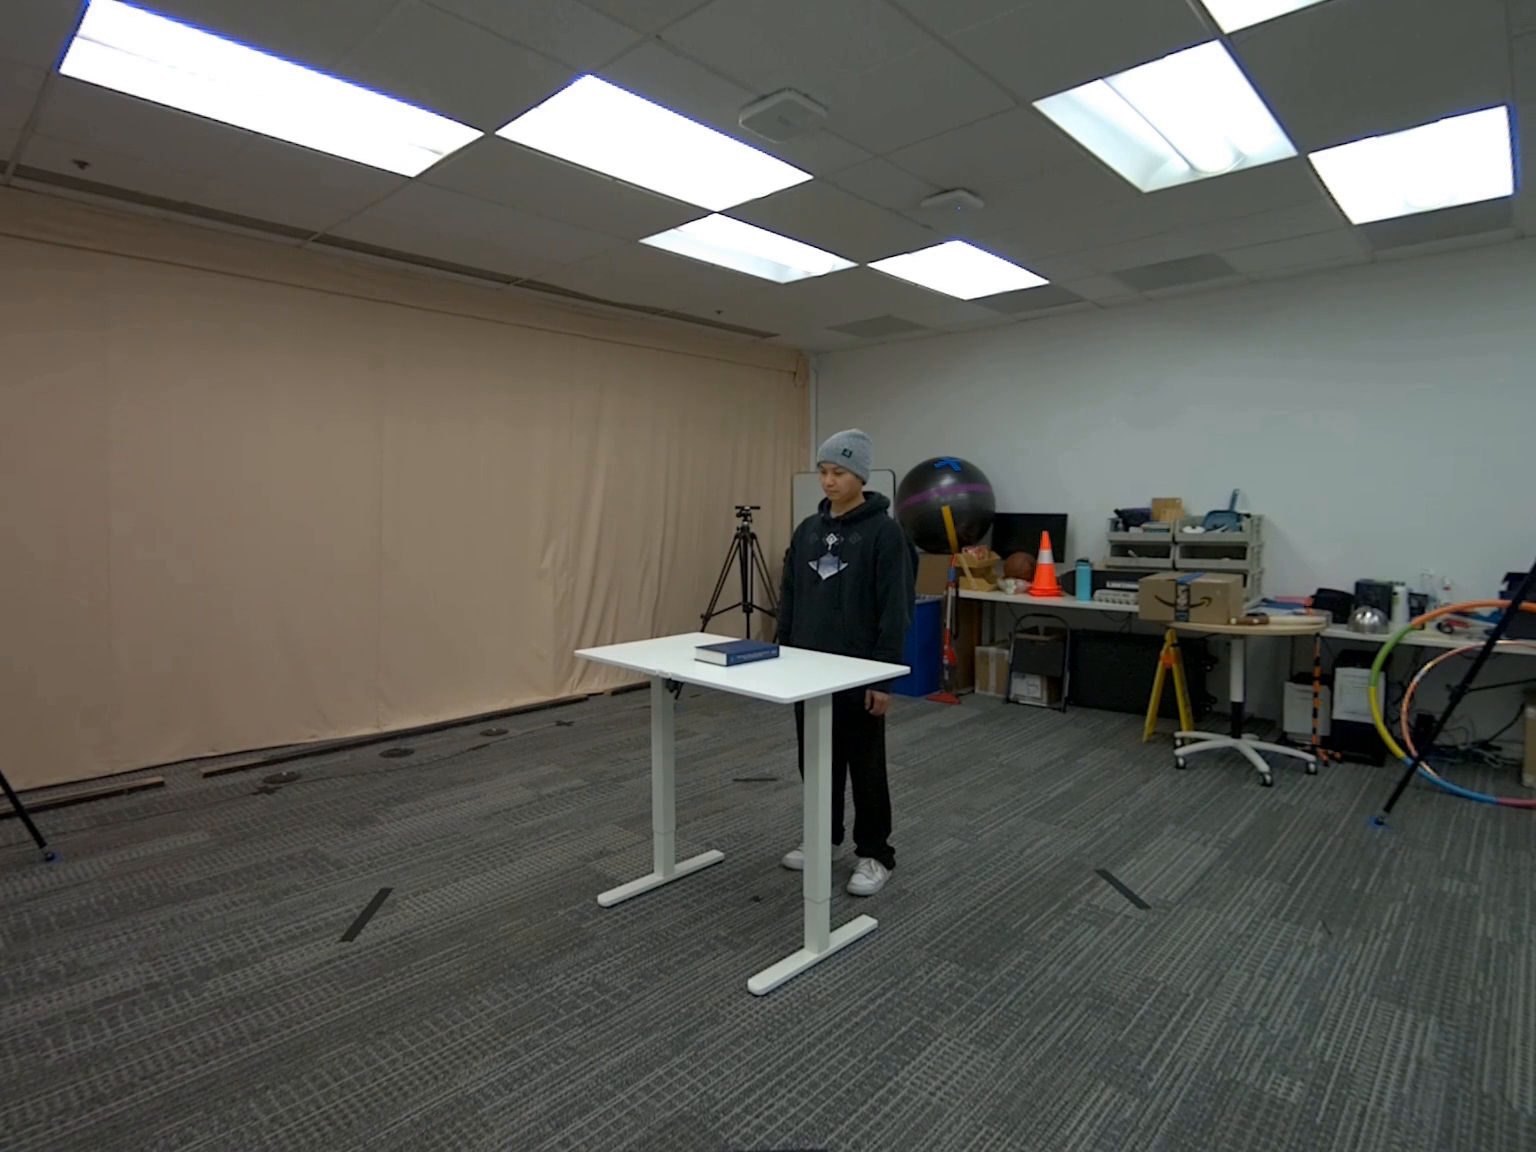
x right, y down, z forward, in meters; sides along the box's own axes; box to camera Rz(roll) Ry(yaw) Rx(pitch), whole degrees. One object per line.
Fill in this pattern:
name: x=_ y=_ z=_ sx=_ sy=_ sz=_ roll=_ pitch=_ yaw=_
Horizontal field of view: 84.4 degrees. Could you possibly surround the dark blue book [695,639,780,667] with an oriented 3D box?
dark blue book: x=-0.105 y=0.259 z=2.804 sx=0.238 sy=0.045 sz=0.169 roll=-5 pitch=7 yaw=-44
